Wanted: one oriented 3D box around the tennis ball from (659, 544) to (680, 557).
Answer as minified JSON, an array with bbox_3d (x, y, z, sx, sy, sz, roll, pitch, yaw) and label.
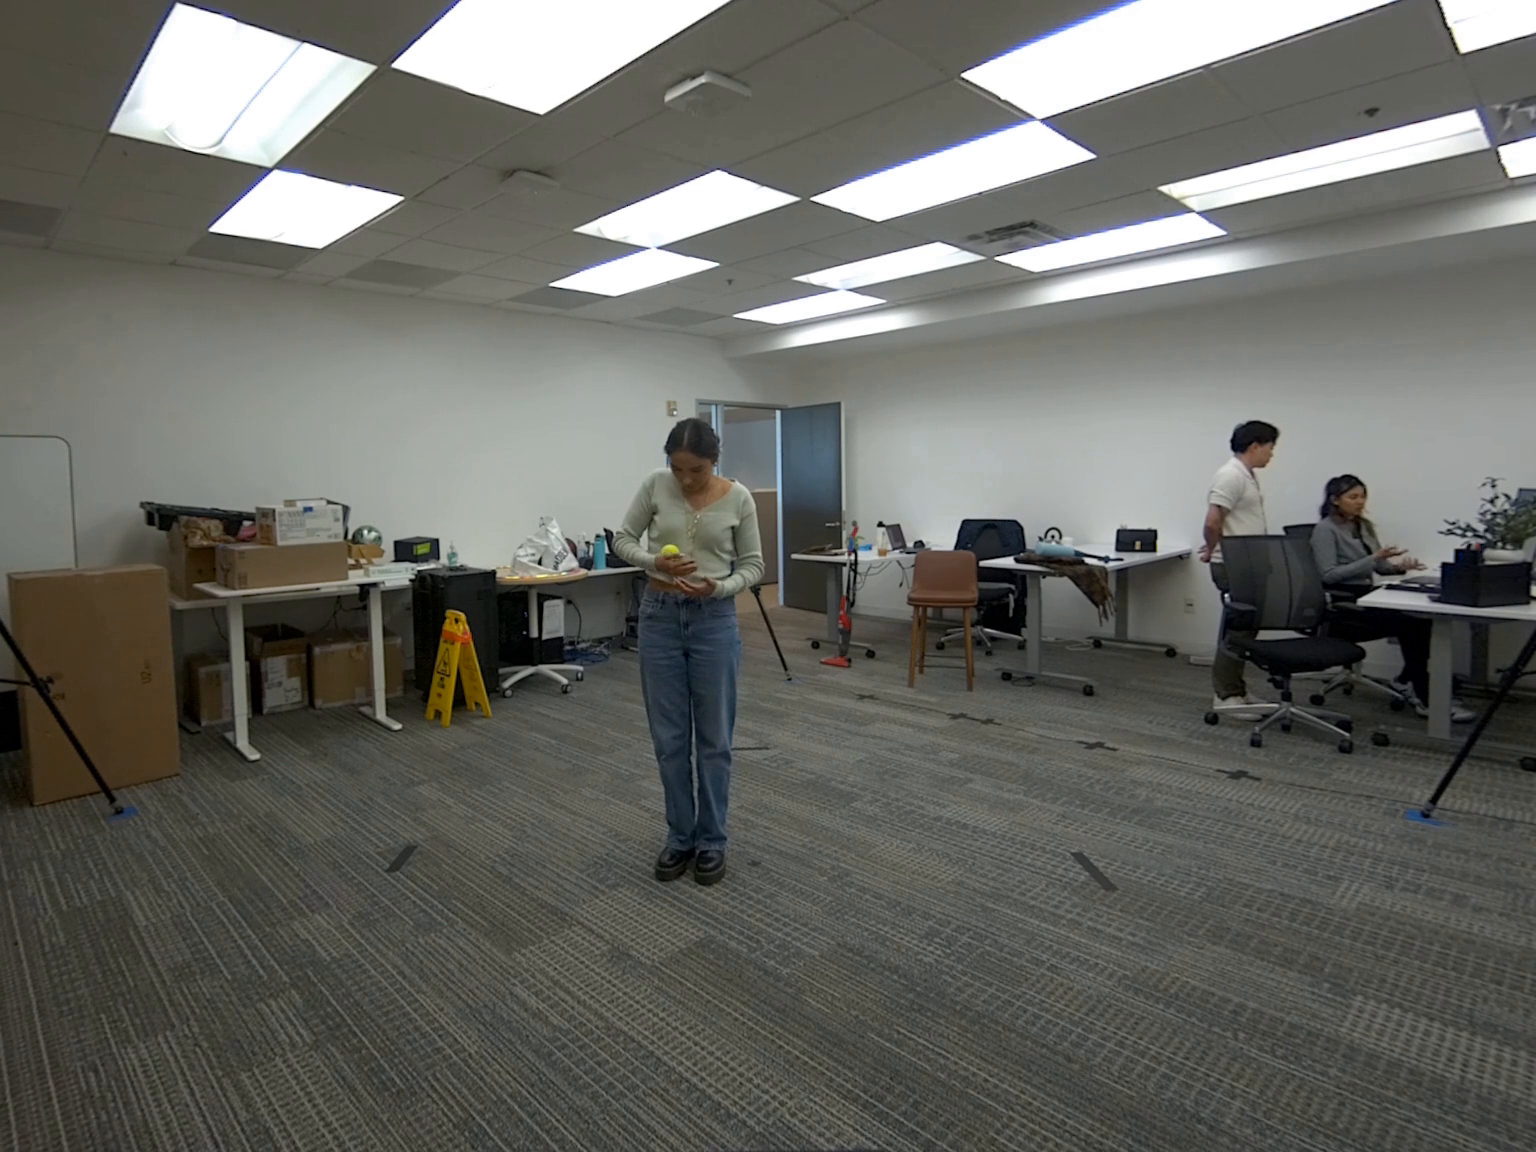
[{"bbox_3d":[-0.347,-0.074,2.922,0.066,0.066,0.067,-1,5,-2],"label":"tennis ball"}]
